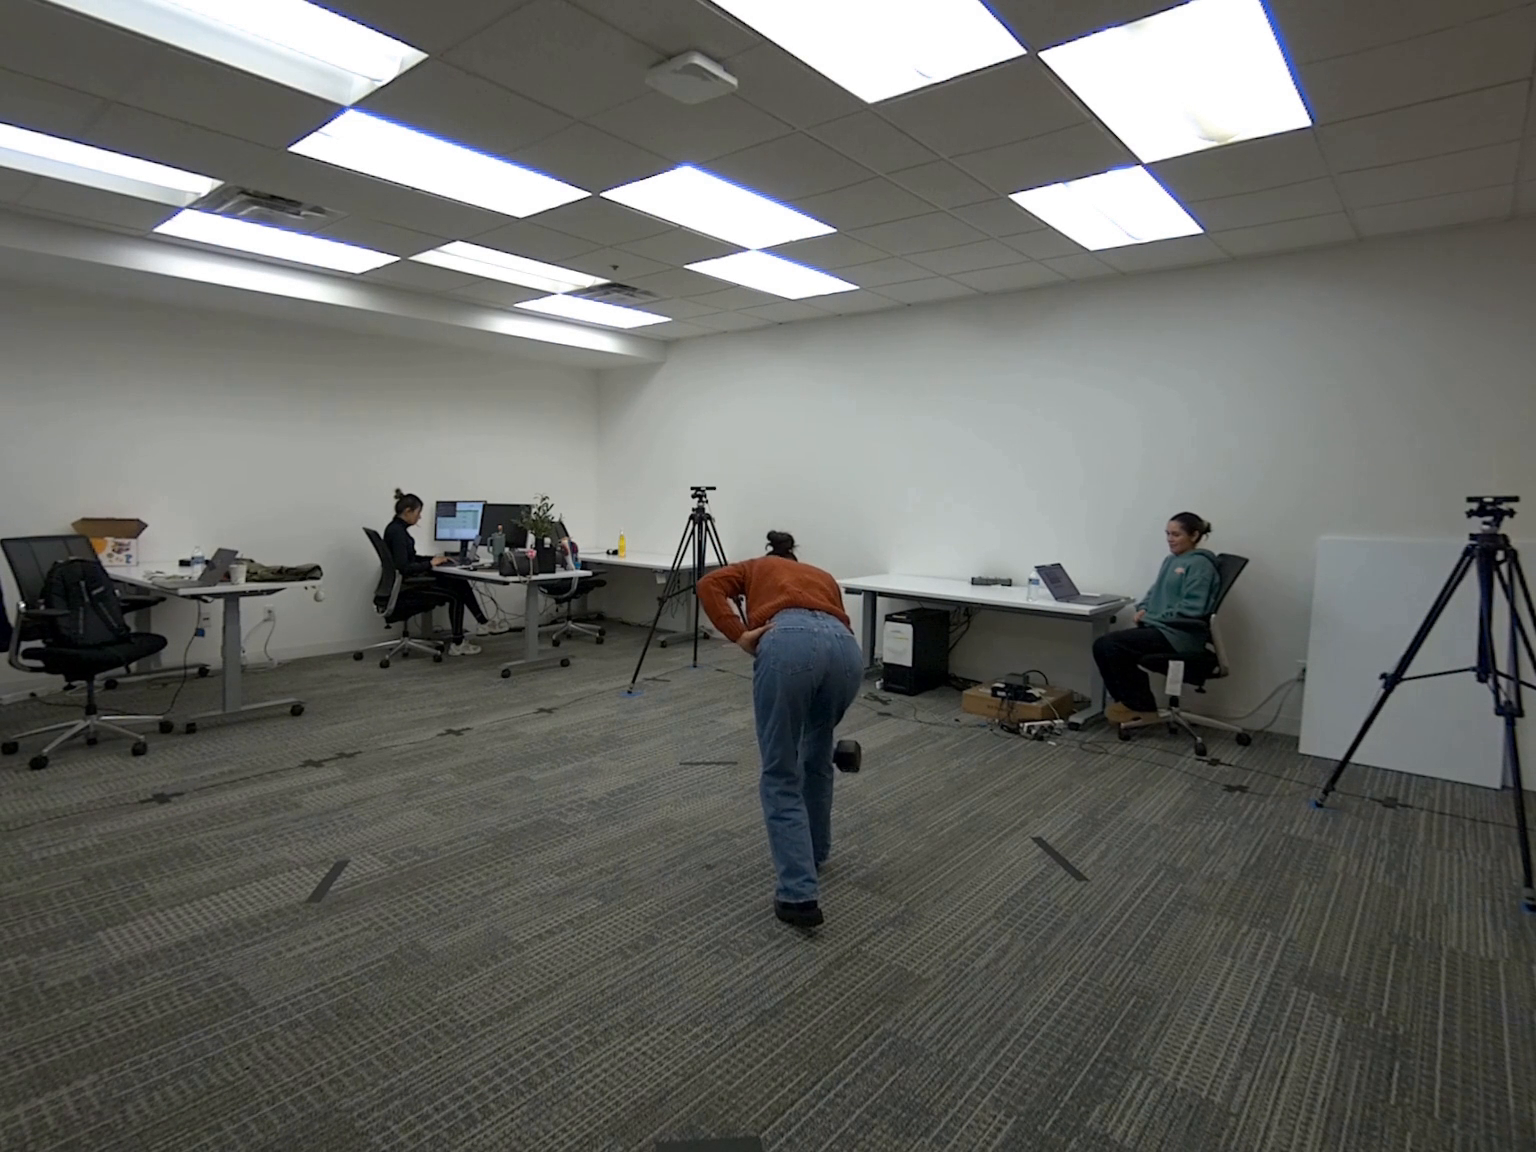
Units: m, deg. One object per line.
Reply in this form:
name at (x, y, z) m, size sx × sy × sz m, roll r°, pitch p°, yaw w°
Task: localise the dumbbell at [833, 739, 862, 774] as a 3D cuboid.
dumbbell at (0.197, 0.672, 3.210) m, size 0.300 × 0.122 × 0.107 m, roll -1°, pitch 7°, yaw 21°
